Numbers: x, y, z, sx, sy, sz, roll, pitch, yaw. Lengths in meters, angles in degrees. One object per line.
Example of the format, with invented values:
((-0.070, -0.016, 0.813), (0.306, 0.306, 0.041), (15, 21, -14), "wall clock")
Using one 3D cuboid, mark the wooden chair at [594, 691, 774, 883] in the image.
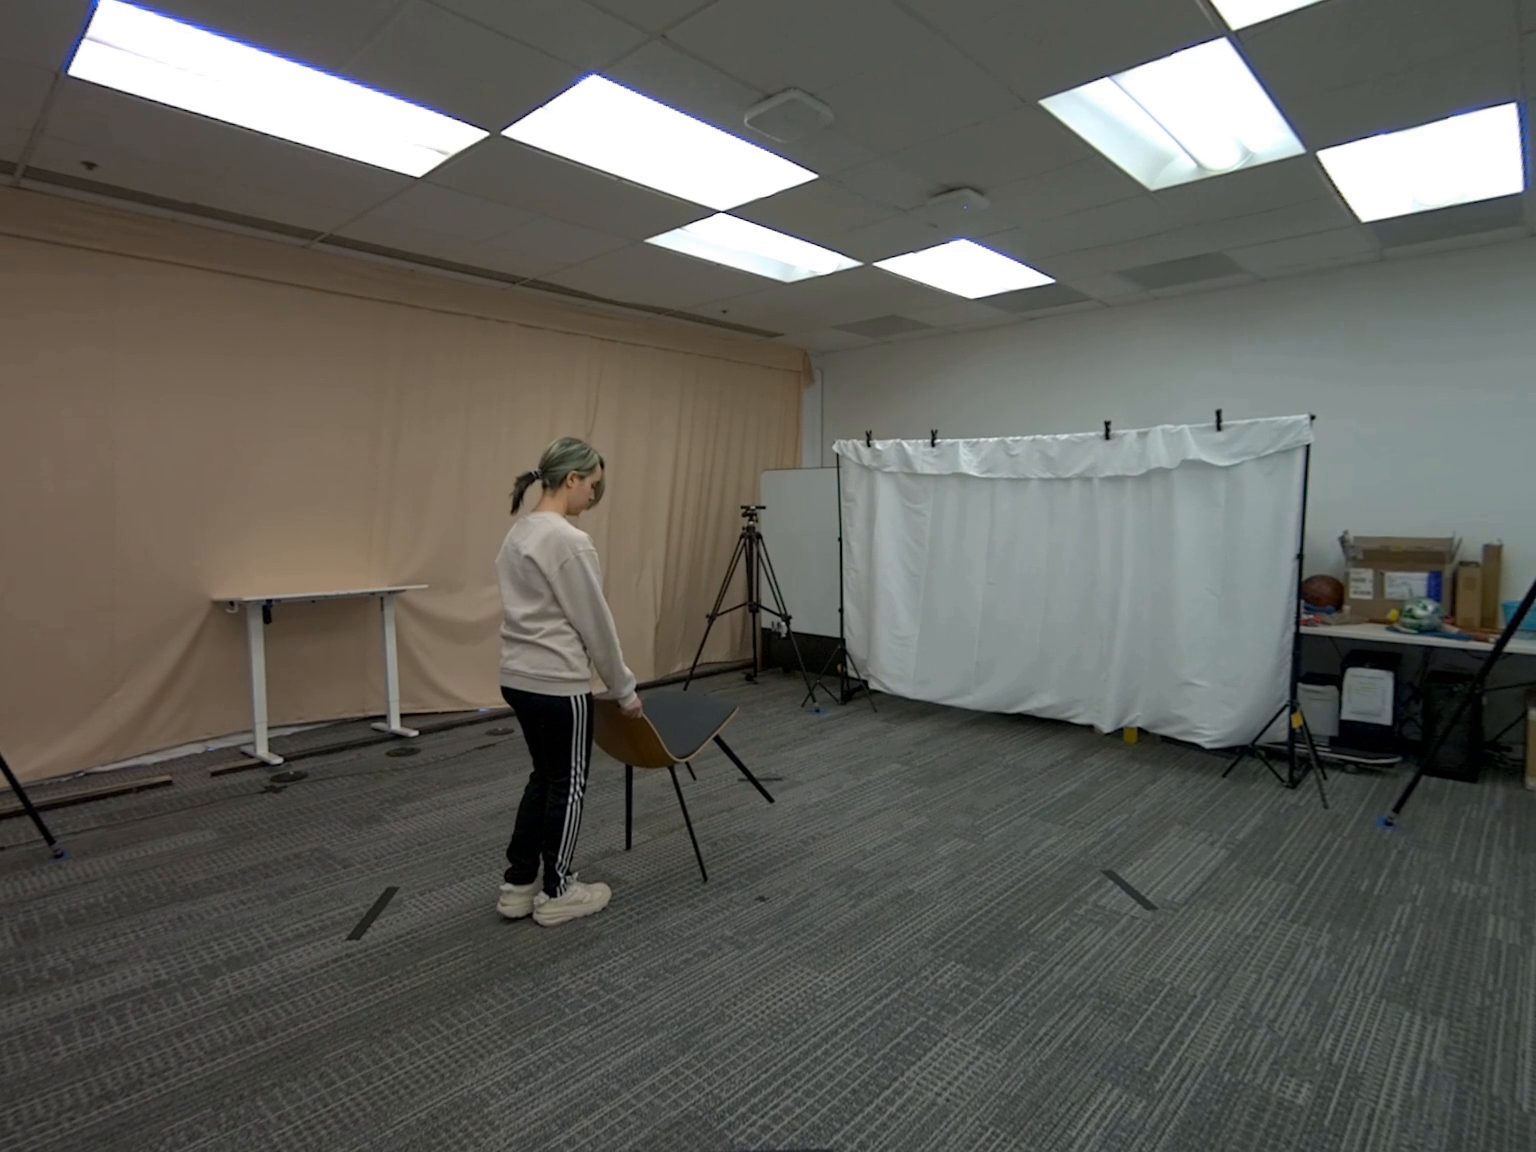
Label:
((-0.383, 0.634, 3.262), (0.494, 0.858, 0.517), (3, 34, 42), "wooden chair")
